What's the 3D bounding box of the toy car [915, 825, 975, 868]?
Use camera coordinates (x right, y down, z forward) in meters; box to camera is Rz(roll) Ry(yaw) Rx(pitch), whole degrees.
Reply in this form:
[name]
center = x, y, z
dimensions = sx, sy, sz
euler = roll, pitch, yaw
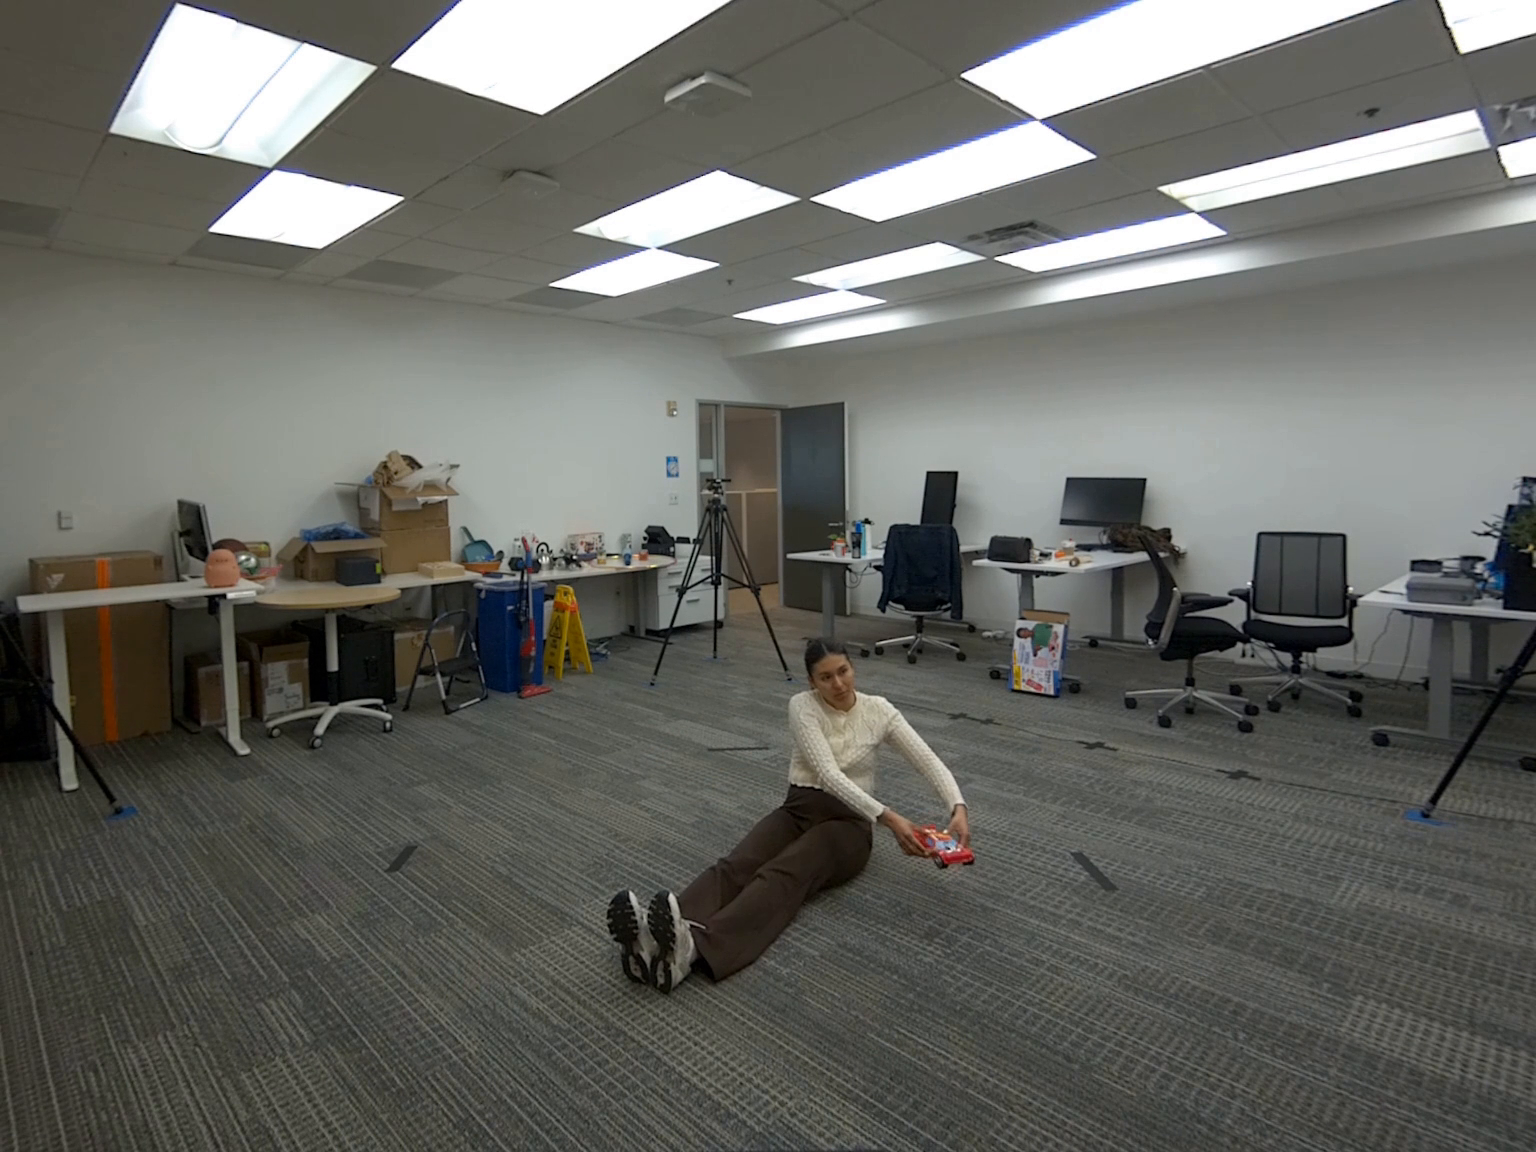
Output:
[toy car]
center = 0.537, 0.862, 2.708
dimensions = 0.128, 0.083, 0.260
euler = -2, 8, -17
